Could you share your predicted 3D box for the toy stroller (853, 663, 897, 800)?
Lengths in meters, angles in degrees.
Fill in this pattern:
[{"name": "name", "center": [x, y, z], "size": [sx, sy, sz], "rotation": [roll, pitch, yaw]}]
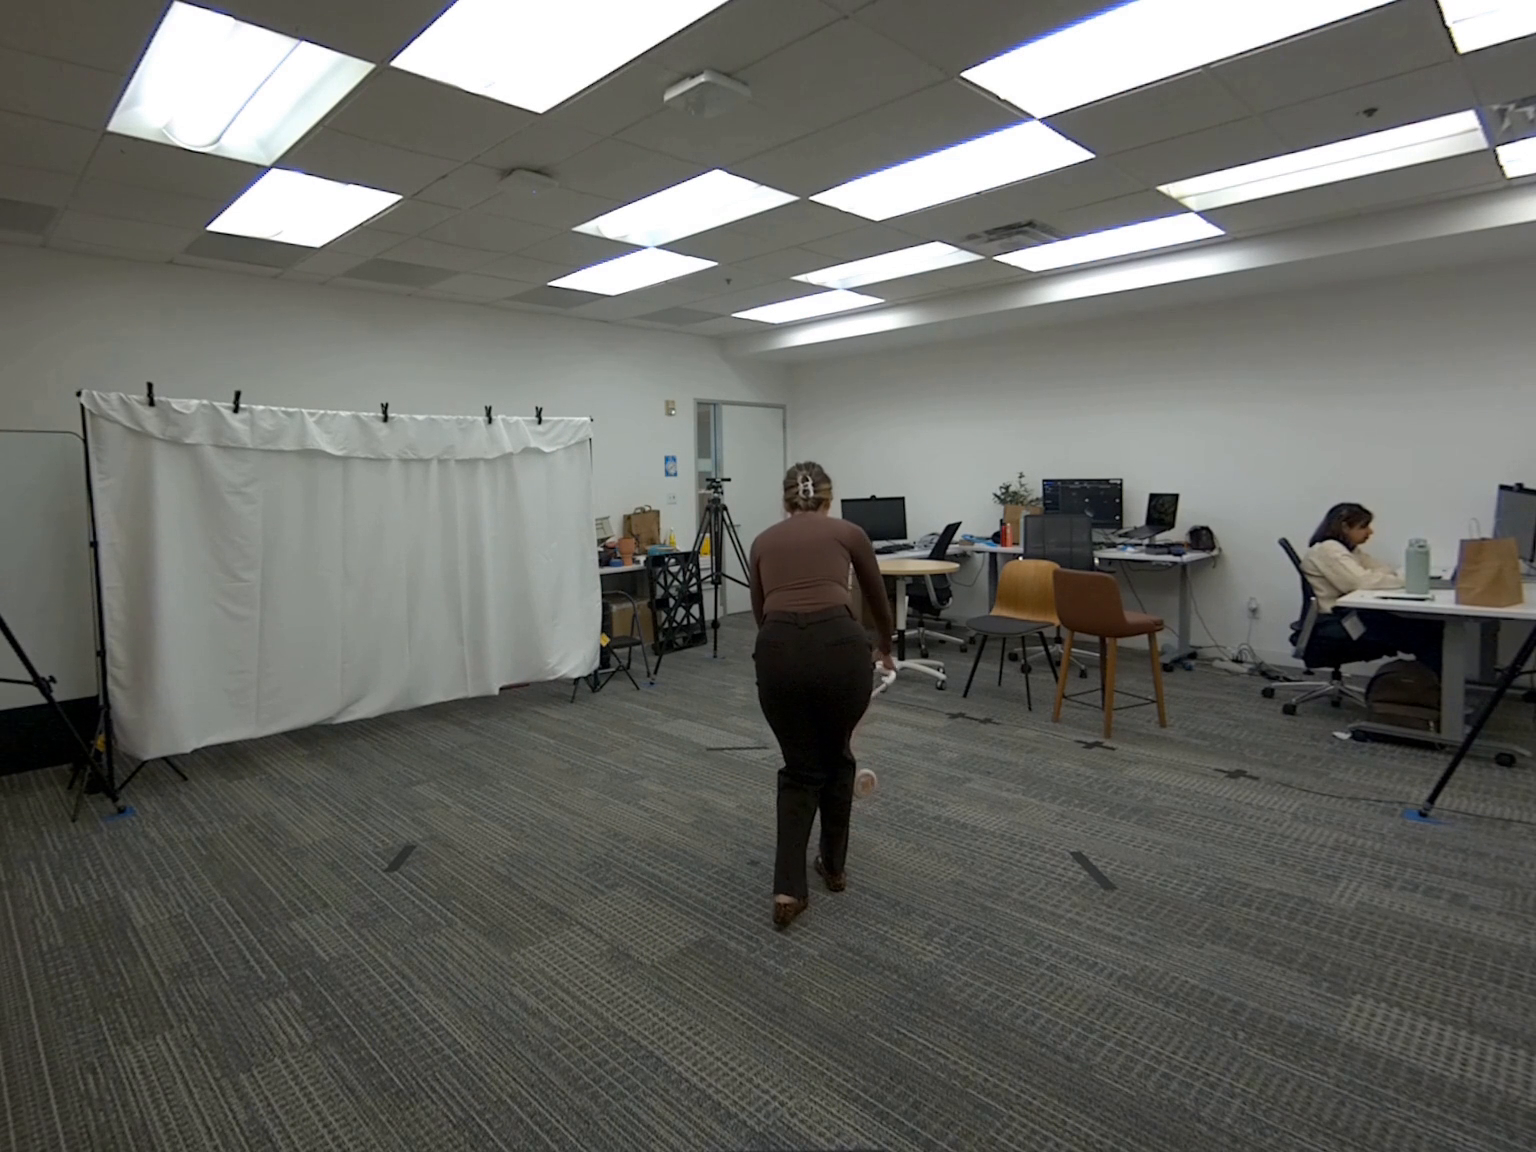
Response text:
[{"name": "toy stroller", "center": [0.248, 0.570, 3.246], "size": [0.336, 0.536, 0.286], "rotation": [15, -2, -15]}]
